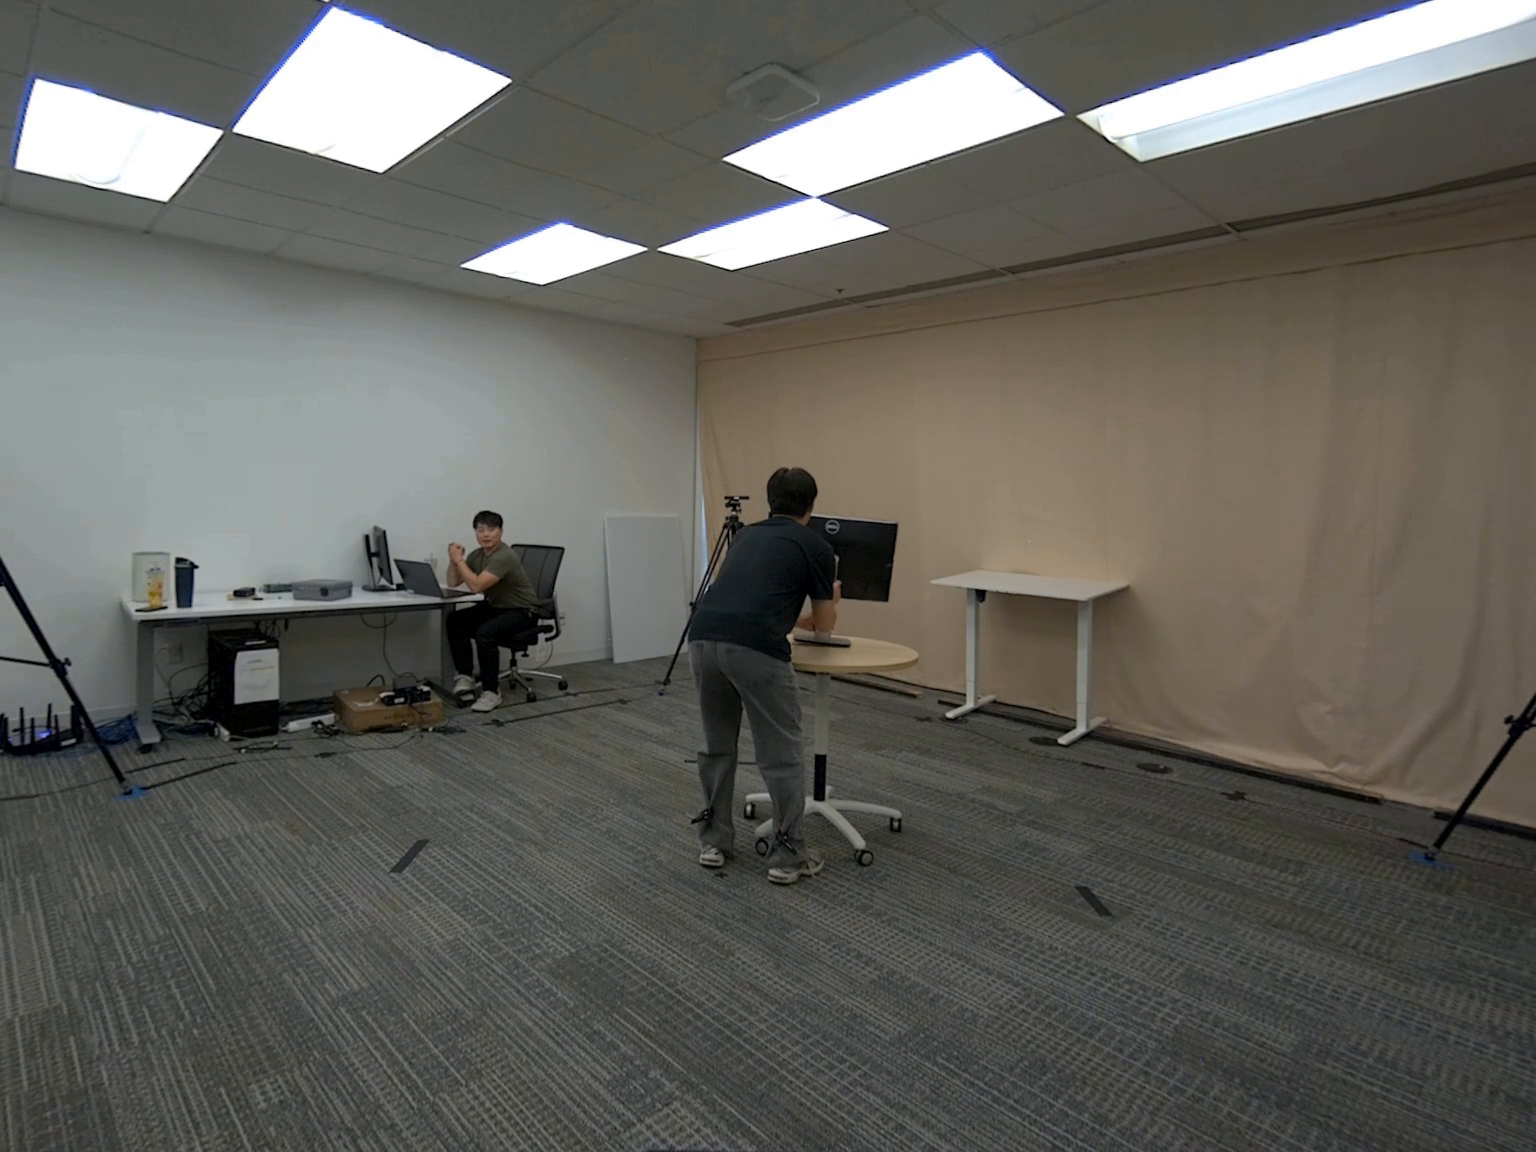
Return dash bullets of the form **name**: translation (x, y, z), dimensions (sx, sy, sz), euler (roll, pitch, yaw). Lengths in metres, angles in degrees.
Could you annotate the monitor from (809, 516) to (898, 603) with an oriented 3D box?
- **monitor**: translation (0.248, 0.019, 3.632), dimensions (0.565, 0.566, 0.221), euler (6, 0, 6)
